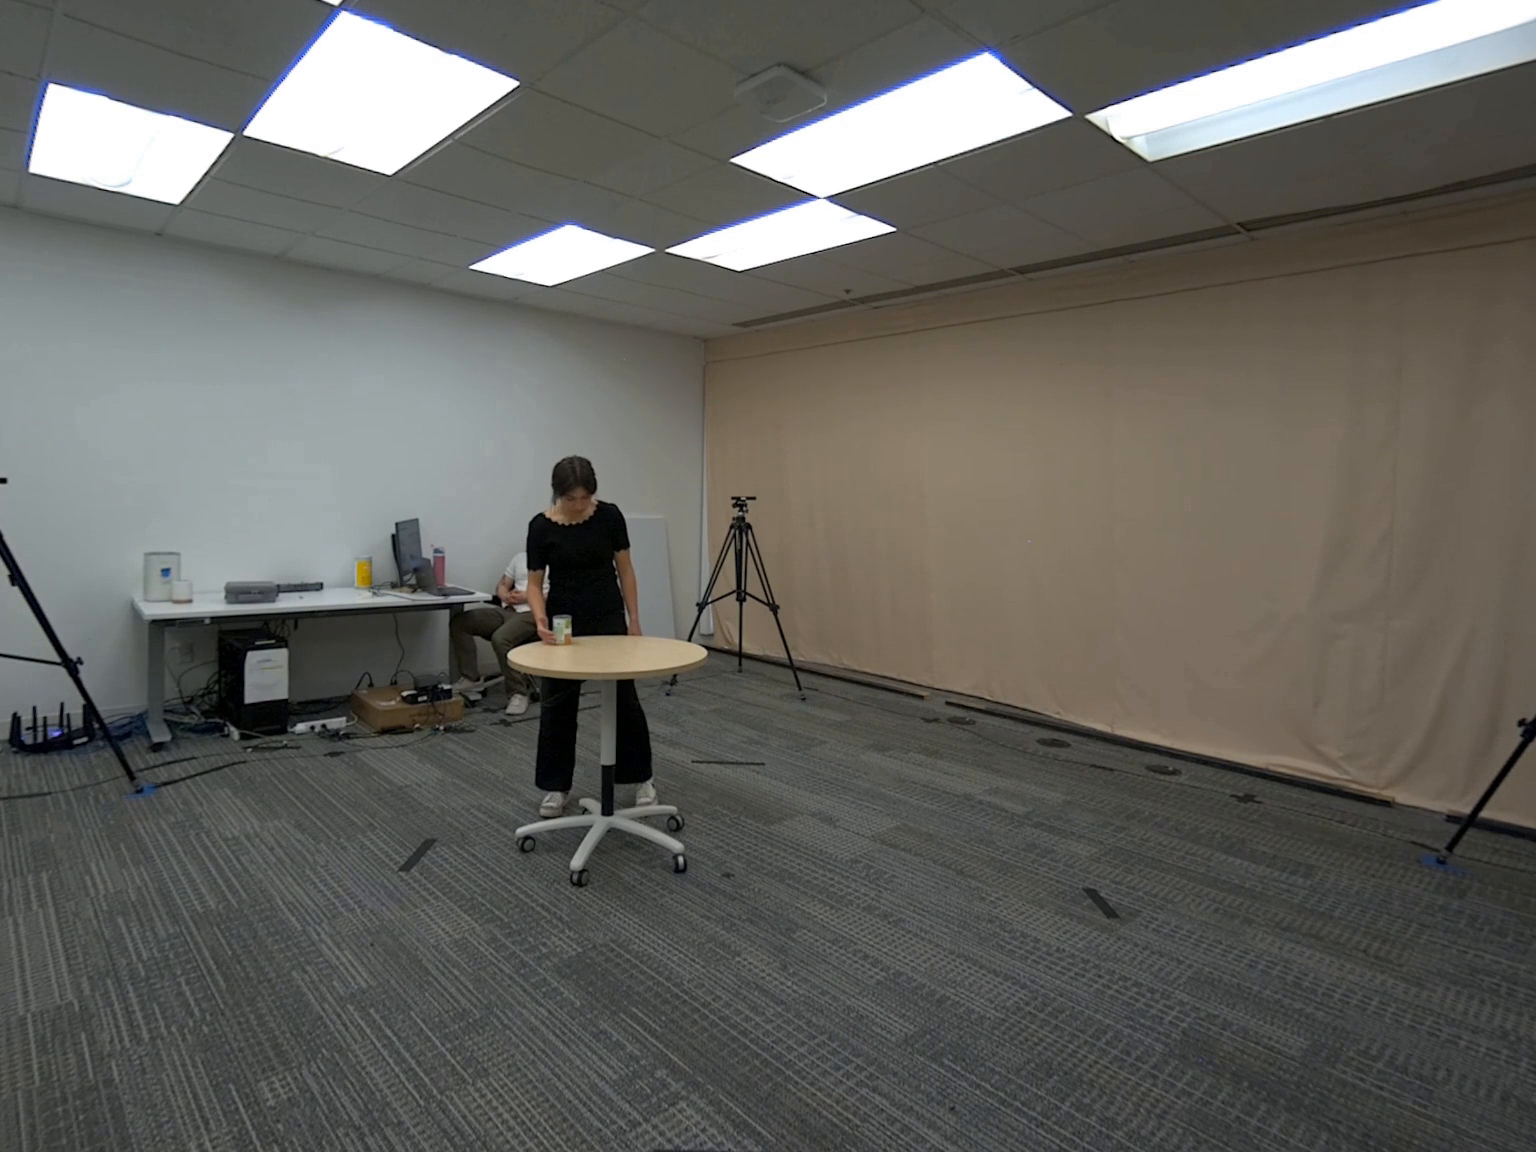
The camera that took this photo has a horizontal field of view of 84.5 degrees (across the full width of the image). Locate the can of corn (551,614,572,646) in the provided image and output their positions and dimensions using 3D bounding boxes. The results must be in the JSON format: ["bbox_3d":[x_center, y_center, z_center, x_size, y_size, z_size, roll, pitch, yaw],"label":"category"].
[{"bbox_3d":[-0.875,0.223,3.434,0.074,0.110,0.074,0,5,-1],"label":"can of corn"}]
